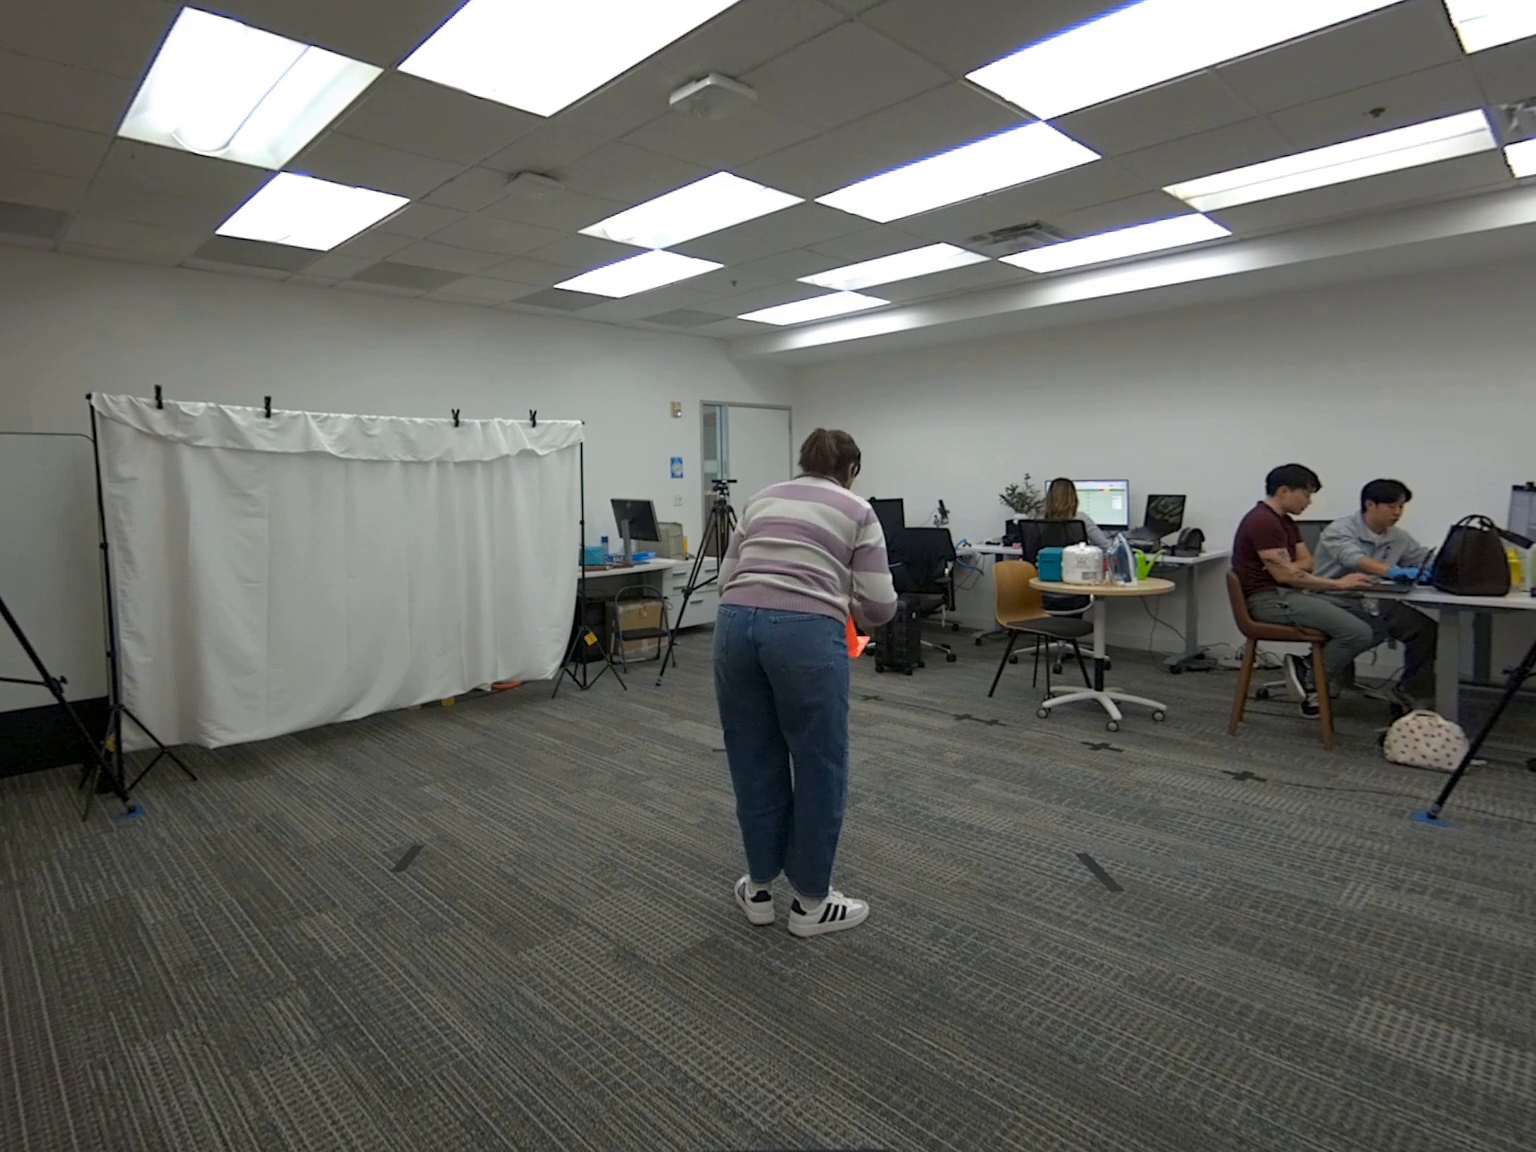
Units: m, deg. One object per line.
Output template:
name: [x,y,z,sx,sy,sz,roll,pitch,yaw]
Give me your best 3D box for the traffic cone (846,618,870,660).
traffic cone: [0.230,0.076,2.963,0.207,0.380,0.203,-5,10,22]
